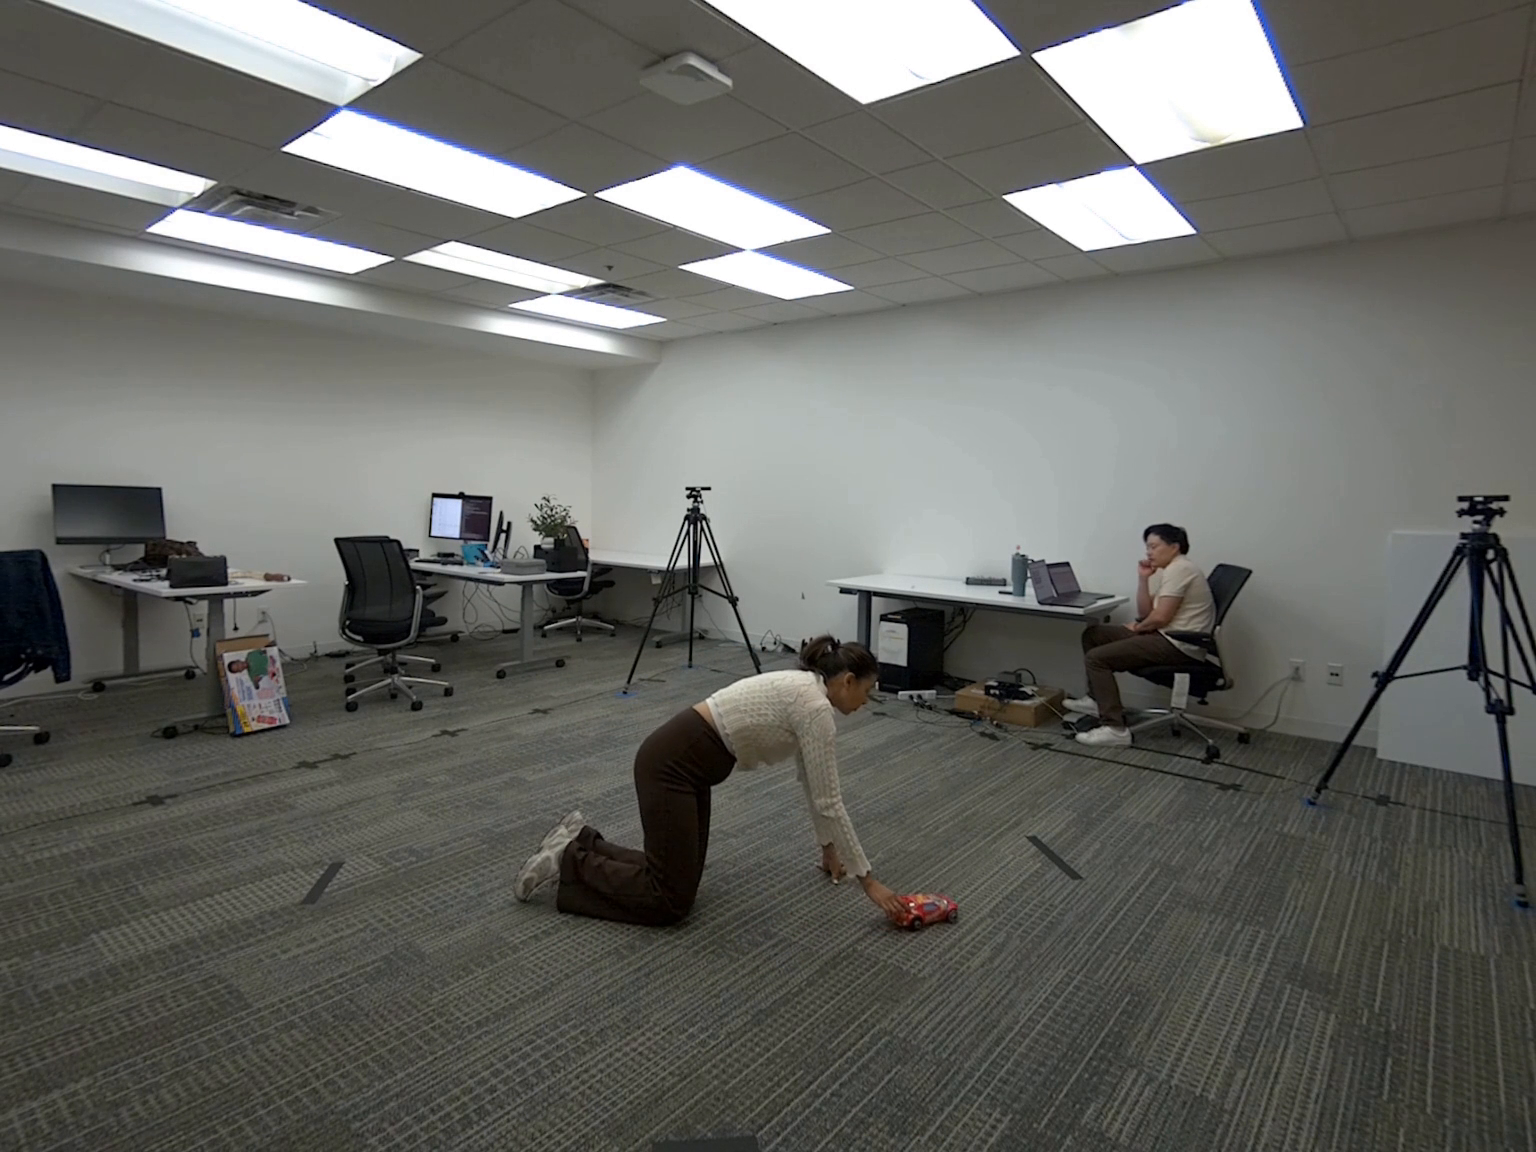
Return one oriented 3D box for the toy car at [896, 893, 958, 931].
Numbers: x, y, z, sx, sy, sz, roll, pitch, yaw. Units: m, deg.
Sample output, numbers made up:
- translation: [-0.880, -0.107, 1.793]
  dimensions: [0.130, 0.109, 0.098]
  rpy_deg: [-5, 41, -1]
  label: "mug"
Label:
- translation: [0.488, 1.088, 2.757]
  dimensions: [0.248, 0.083, 0.134]
  rpy_deg: [10, 1, -24]
  label: "toy car"
